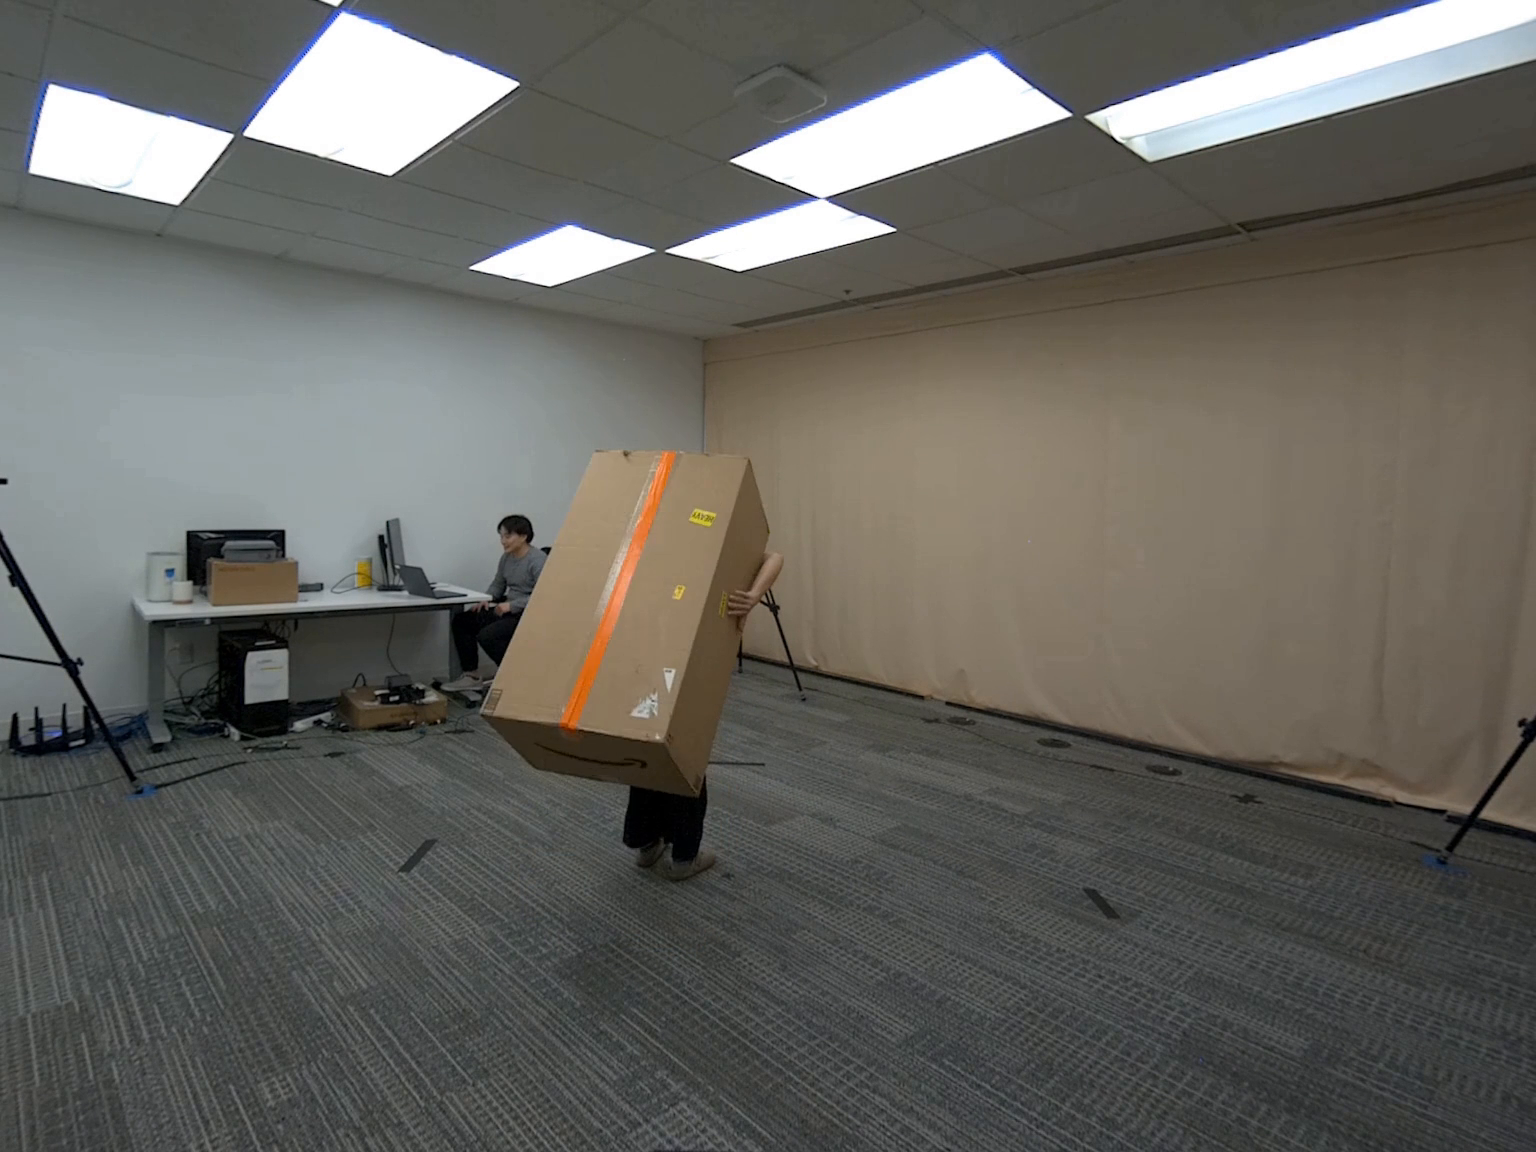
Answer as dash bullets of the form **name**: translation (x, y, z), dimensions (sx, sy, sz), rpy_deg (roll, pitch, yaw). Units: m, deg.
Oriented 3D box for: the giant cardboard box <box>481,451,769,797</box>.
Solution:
- **giant cardboard box**: translation (-0.421, 0.139, 2.768), dimensions (0.586, 1.039, 0.414), rpy_deg (5, -32, 17)
